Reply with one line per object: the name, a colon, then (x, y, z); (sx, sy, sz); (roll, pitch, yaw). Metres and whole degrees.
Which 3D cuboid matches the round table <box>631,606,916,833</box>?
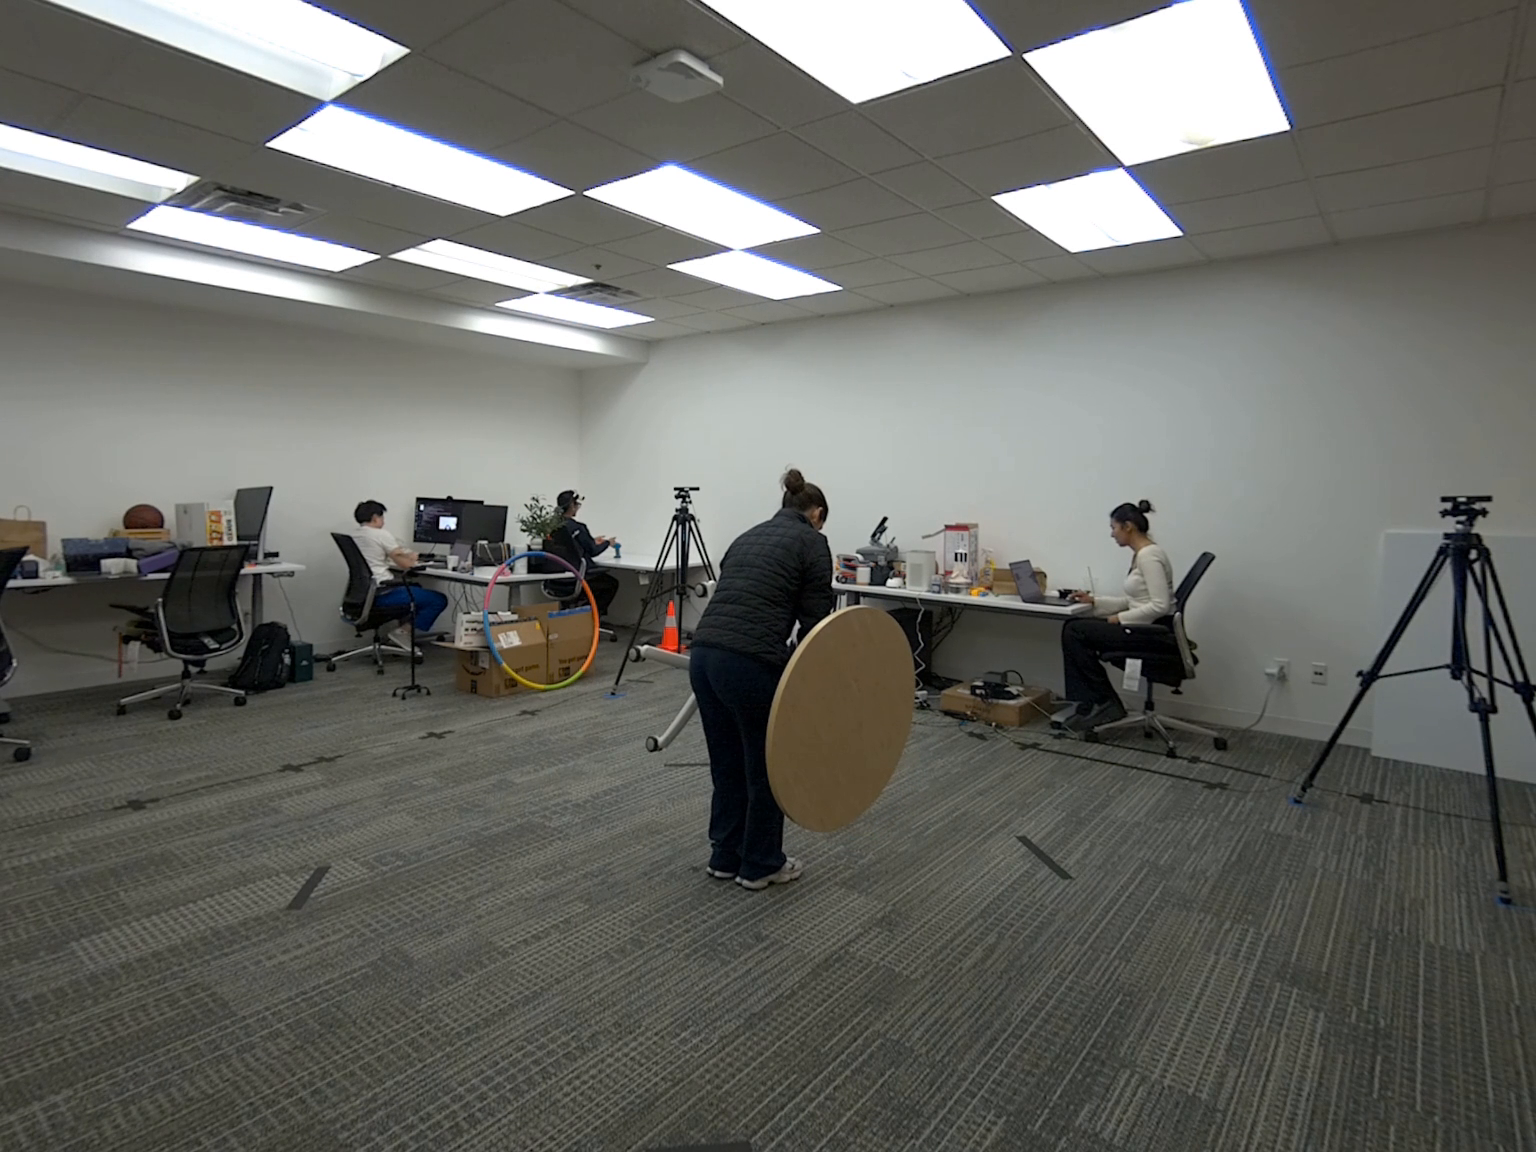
round table: (-0.003, 0.425, 3.150); (0.815, 0.781, 0.761); (10, 9, 44)
